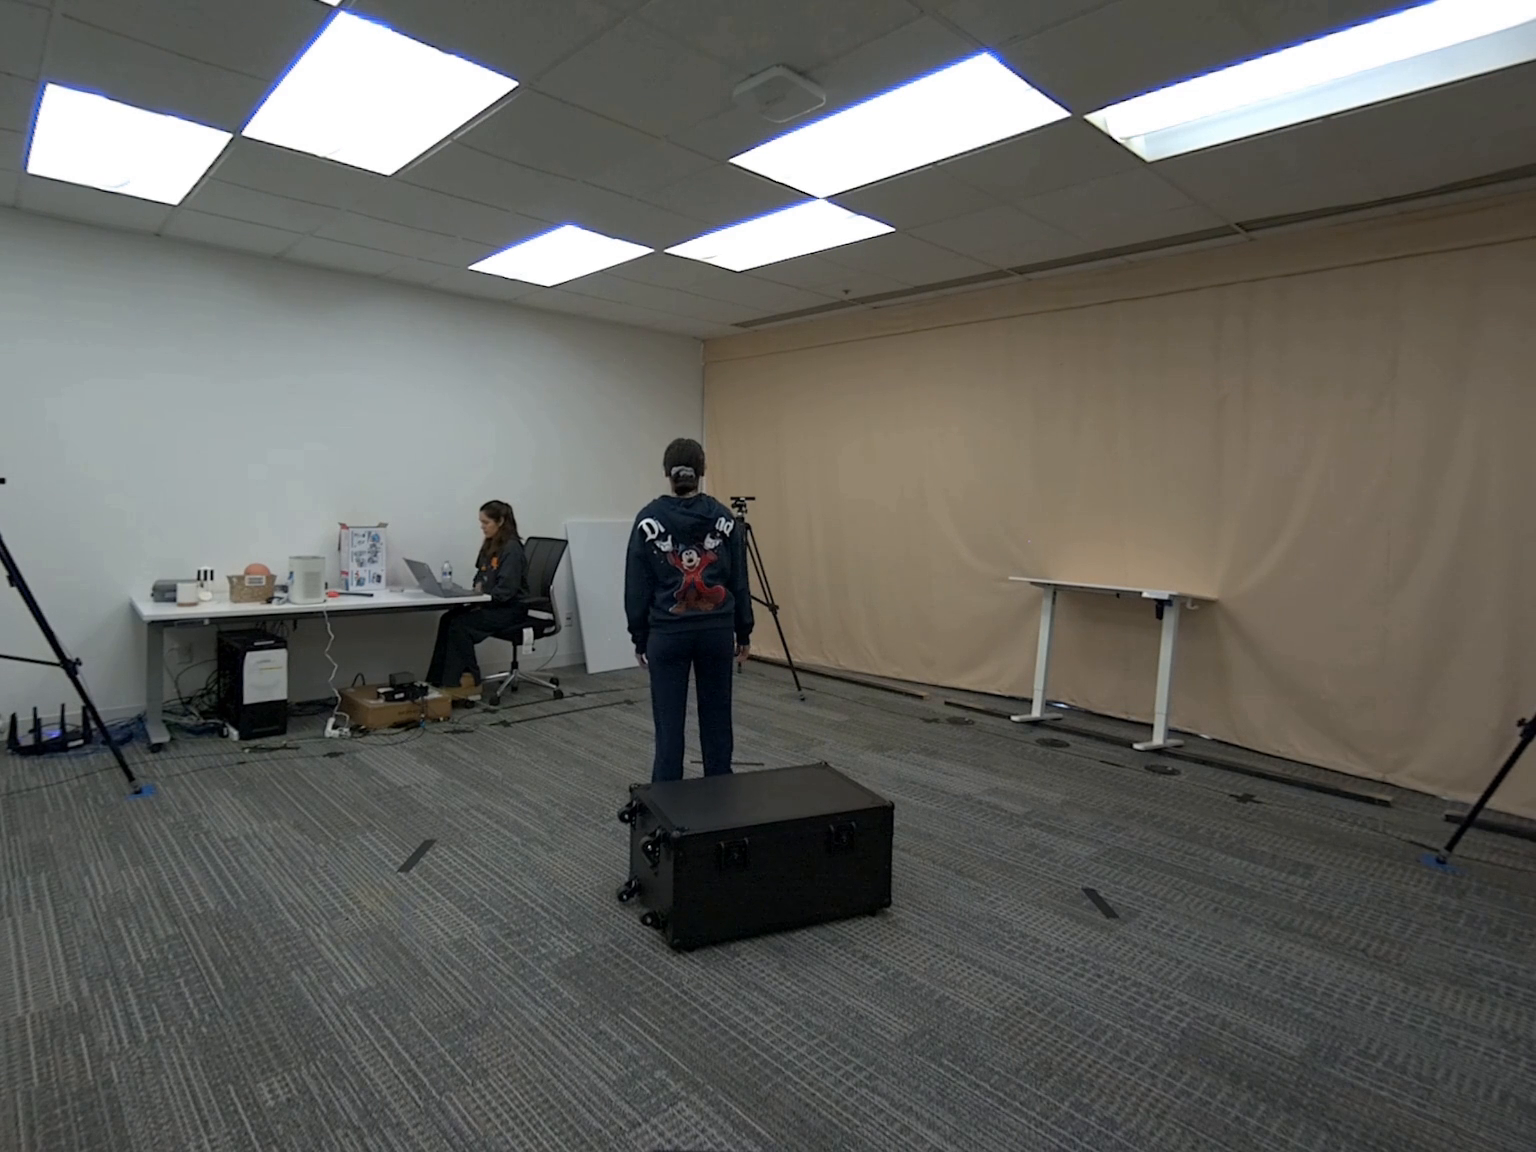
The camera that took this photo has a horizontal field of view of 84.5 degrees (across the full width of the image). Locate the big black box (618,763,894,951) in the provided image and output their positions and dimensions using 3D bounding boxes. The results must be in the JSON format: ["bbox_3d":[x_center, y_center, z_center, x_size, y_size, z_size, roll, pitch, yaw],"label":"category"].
[{"bbox_3d":[-0.059,0.955,2.875,0.845,0.521,0.404,-1,2,-27],"label":"big black box"}]
